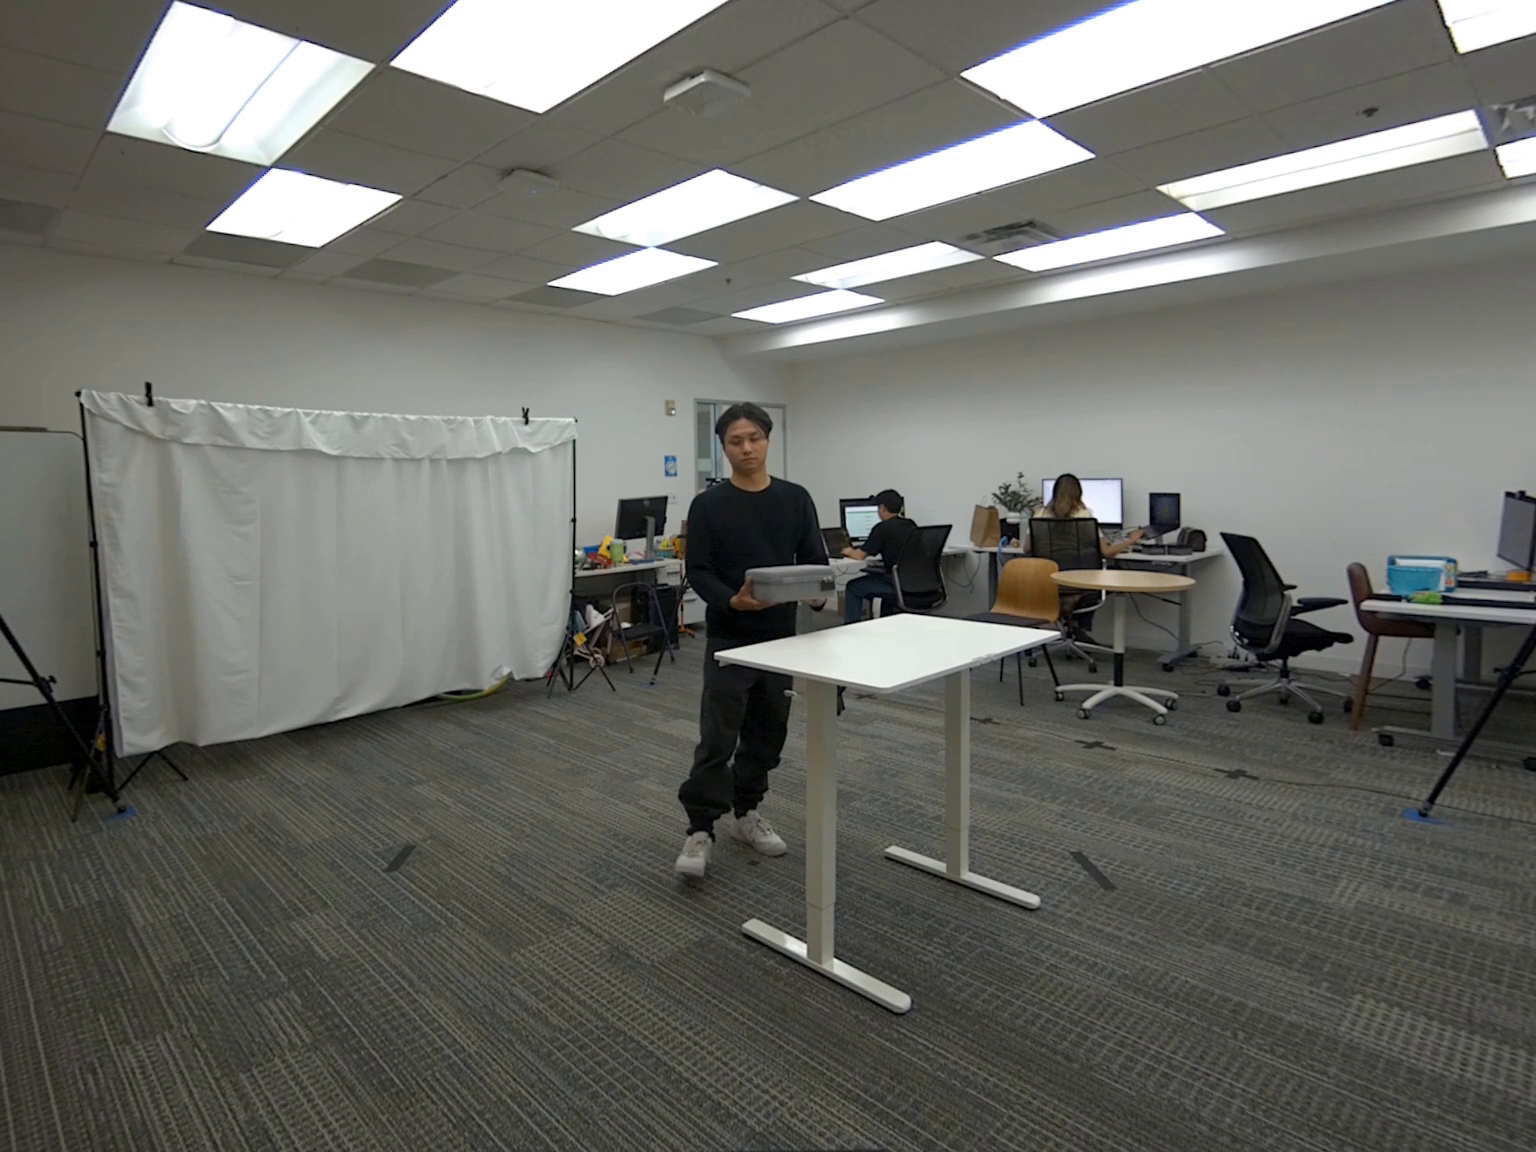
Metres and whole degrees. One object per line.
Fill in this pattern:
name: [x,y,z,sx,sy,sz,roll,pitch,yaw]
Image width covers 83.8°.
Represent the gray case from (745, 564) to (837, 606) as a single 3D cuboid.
gray case: [0.069,0.023,2.866,0.261,0.104,0.256,-4,3,2]
